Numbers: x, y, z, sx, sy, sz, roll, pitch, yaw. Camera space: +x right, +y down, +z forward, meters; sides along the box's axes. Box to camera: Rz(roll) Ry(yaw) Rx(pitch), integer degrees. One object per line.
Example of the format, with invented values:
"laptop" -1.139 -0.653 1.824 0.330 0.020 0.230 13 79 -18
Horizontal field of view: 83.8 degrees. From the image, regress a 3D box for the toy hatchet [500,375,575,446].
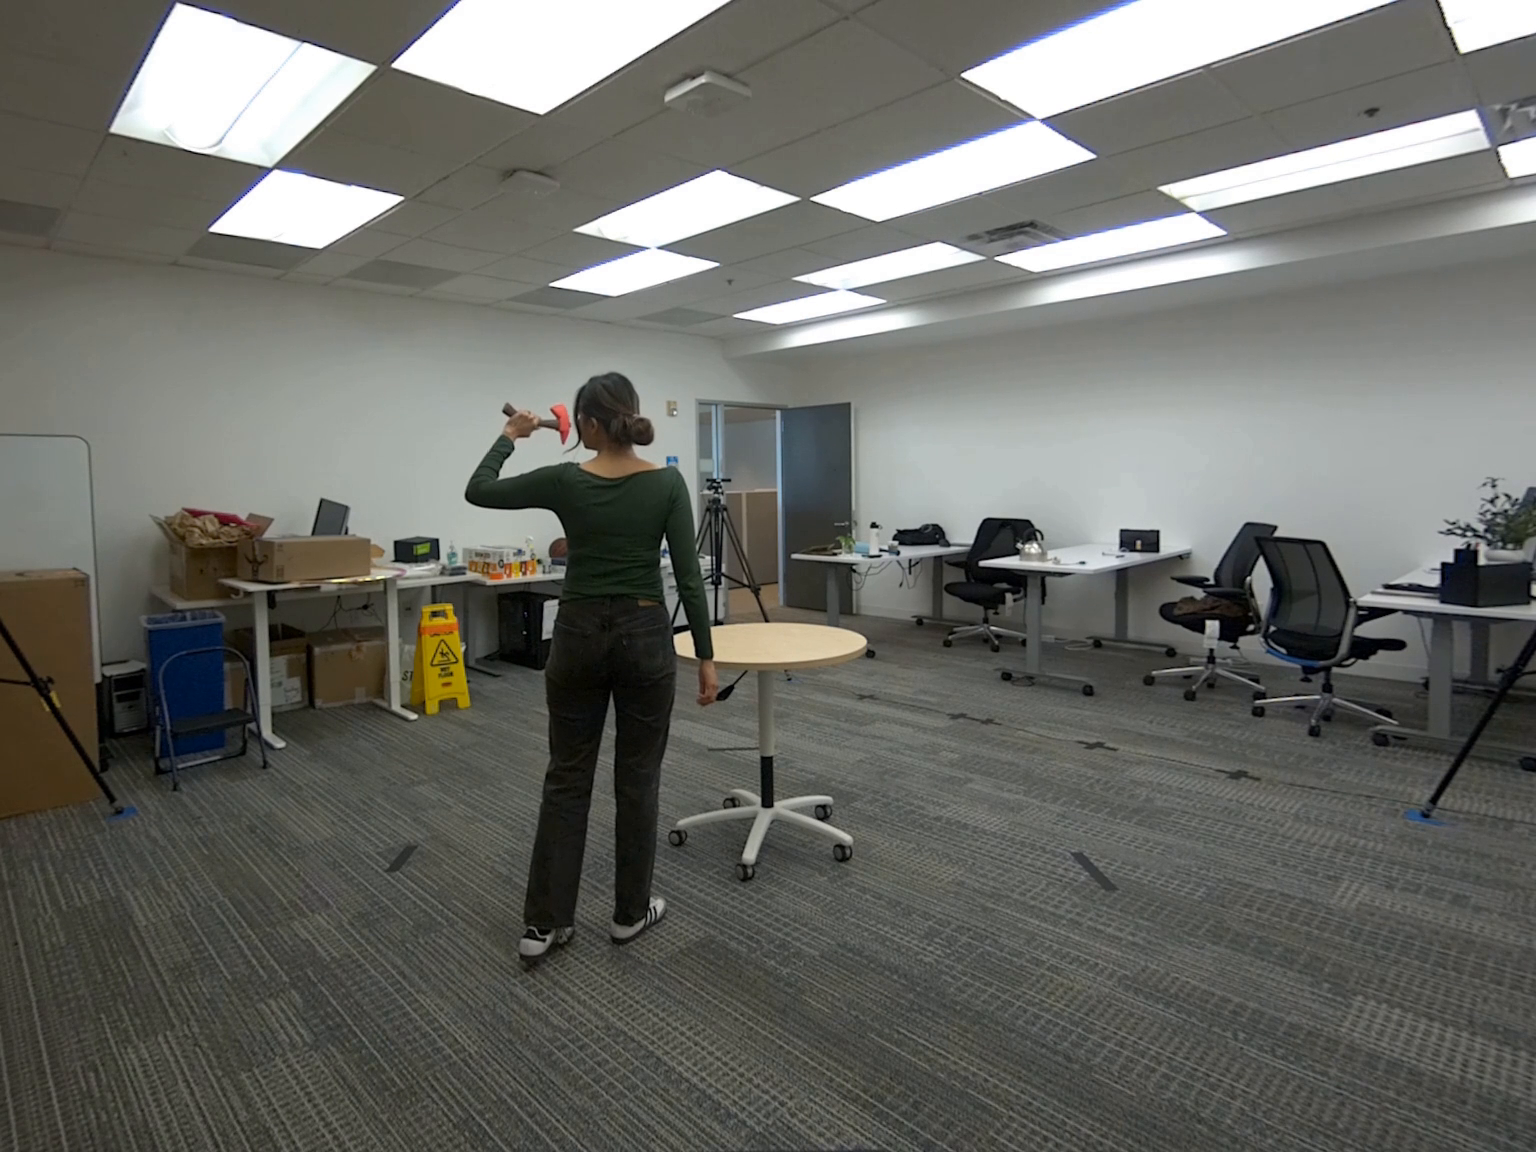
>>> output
"toy hatchet" -0.747 -0.541 2.813 0.030 0.132 0.260 5 -13 38
